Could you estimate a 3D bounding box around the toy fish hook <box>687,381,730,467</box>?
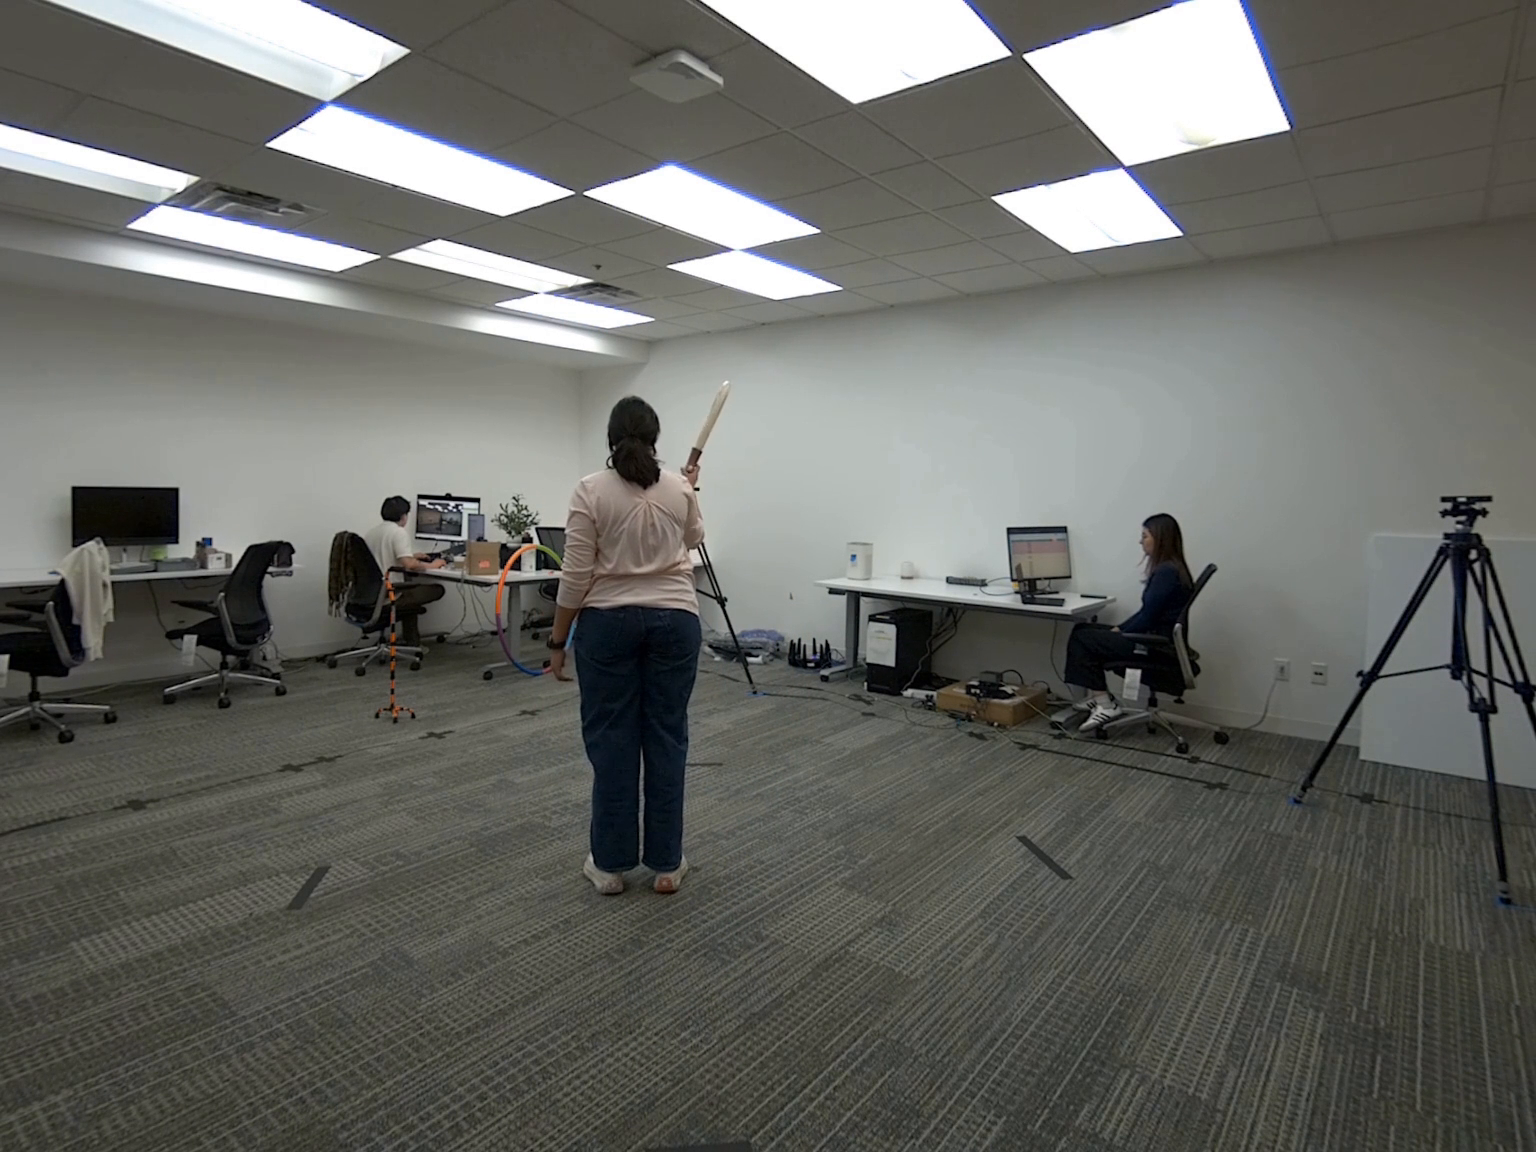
[{"bbox_3d":[-0.302,-0.556,3.548,0.048,0.507,0.226,22,-1,-8],"label":"toy fish hook"}]
